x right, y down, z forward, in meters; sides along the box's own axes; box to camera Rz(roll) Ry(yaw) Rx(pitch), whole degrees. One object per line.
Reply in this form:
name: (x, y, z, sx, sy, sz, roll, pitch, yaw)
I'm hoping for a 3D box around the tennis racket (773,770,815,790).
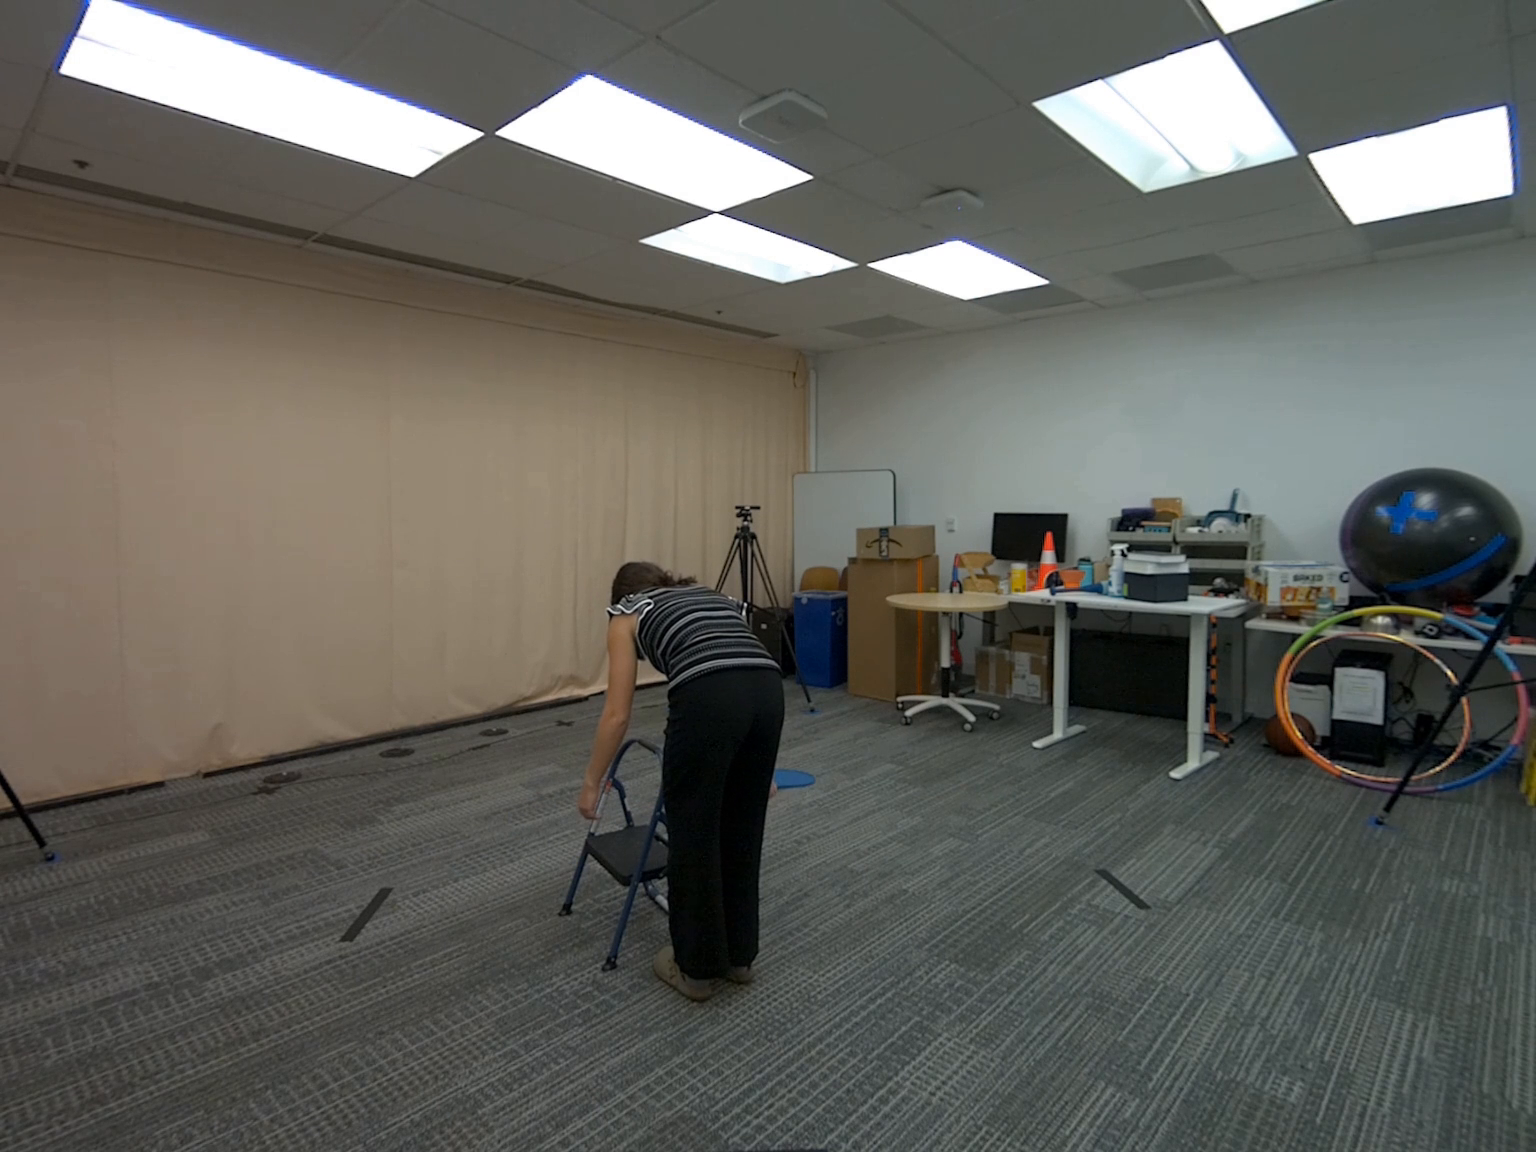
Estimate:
tennis racket: (0.040, 0.728, 2.932, 0.218, 0.032, 0.424, 4, -1, 17)
